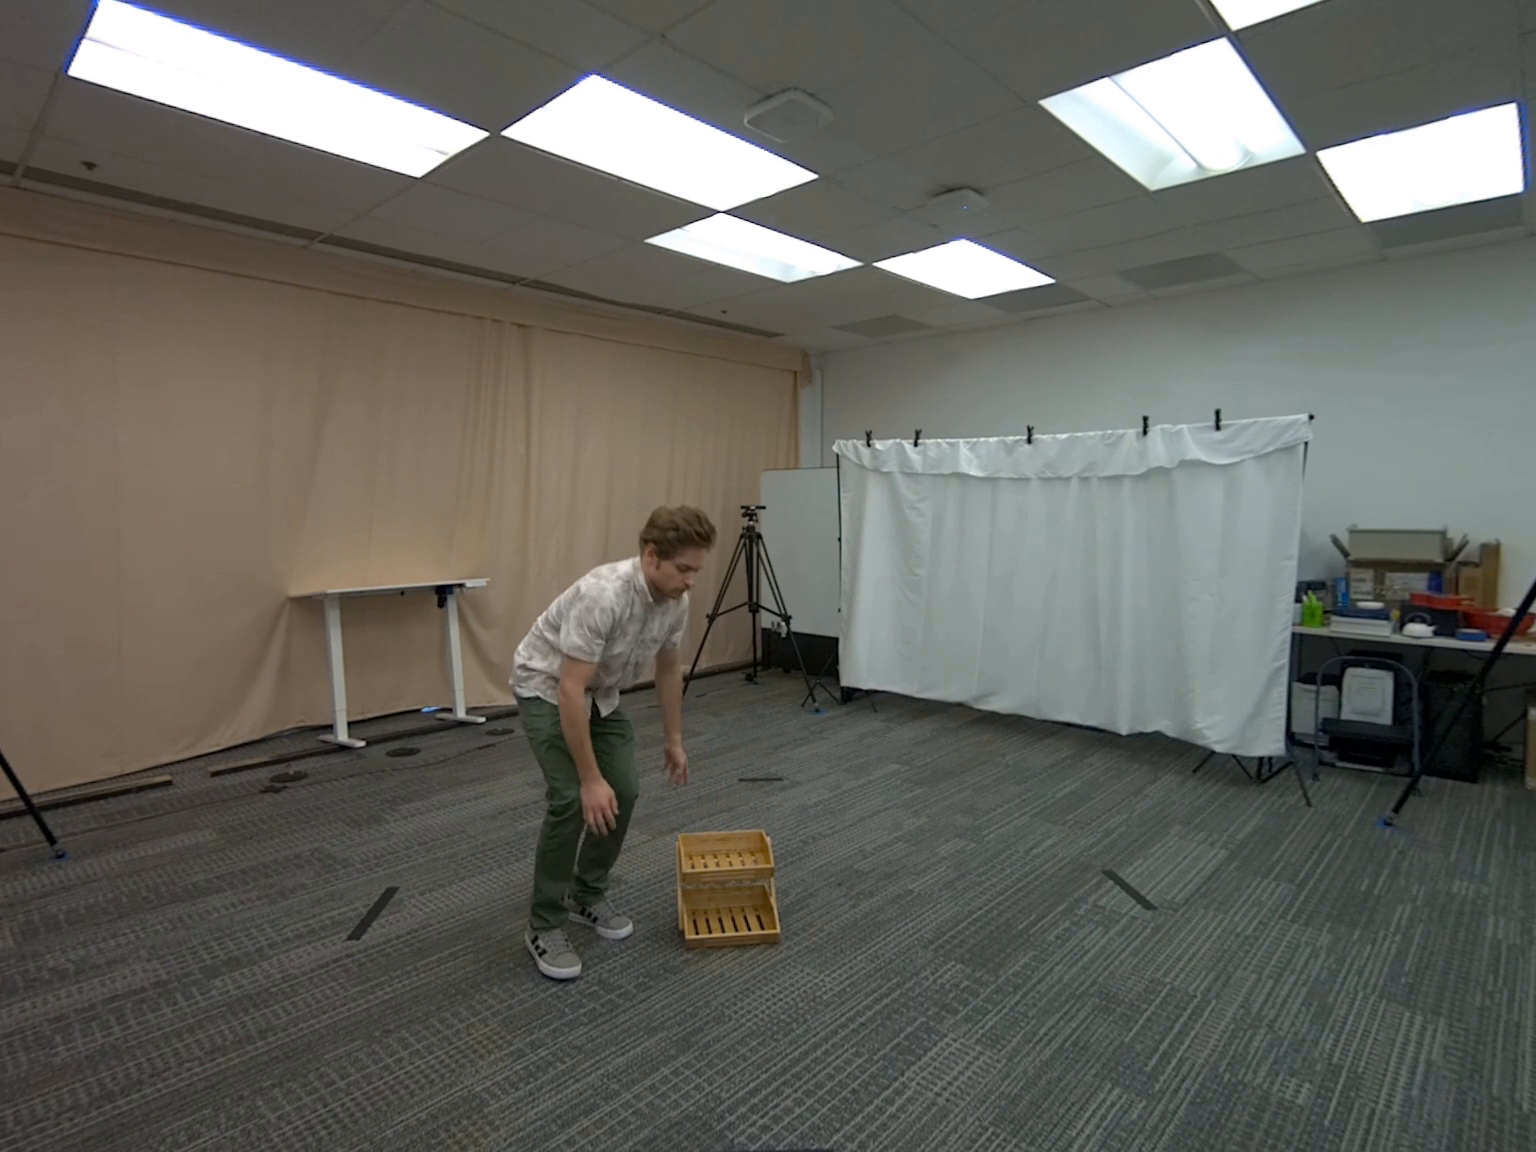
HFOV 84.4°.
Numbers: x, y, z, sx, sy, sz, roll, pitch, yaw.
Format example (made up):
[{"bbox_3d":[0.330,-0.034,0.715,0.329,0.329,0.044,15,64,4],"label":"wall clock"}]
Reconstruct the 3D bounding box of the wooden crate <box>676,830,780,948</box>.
[{"bbox_3d":[-0.139,1.030,2.775,0.322,0.273,0.305,-1,4,-9],"label":"wooden crate"}]
